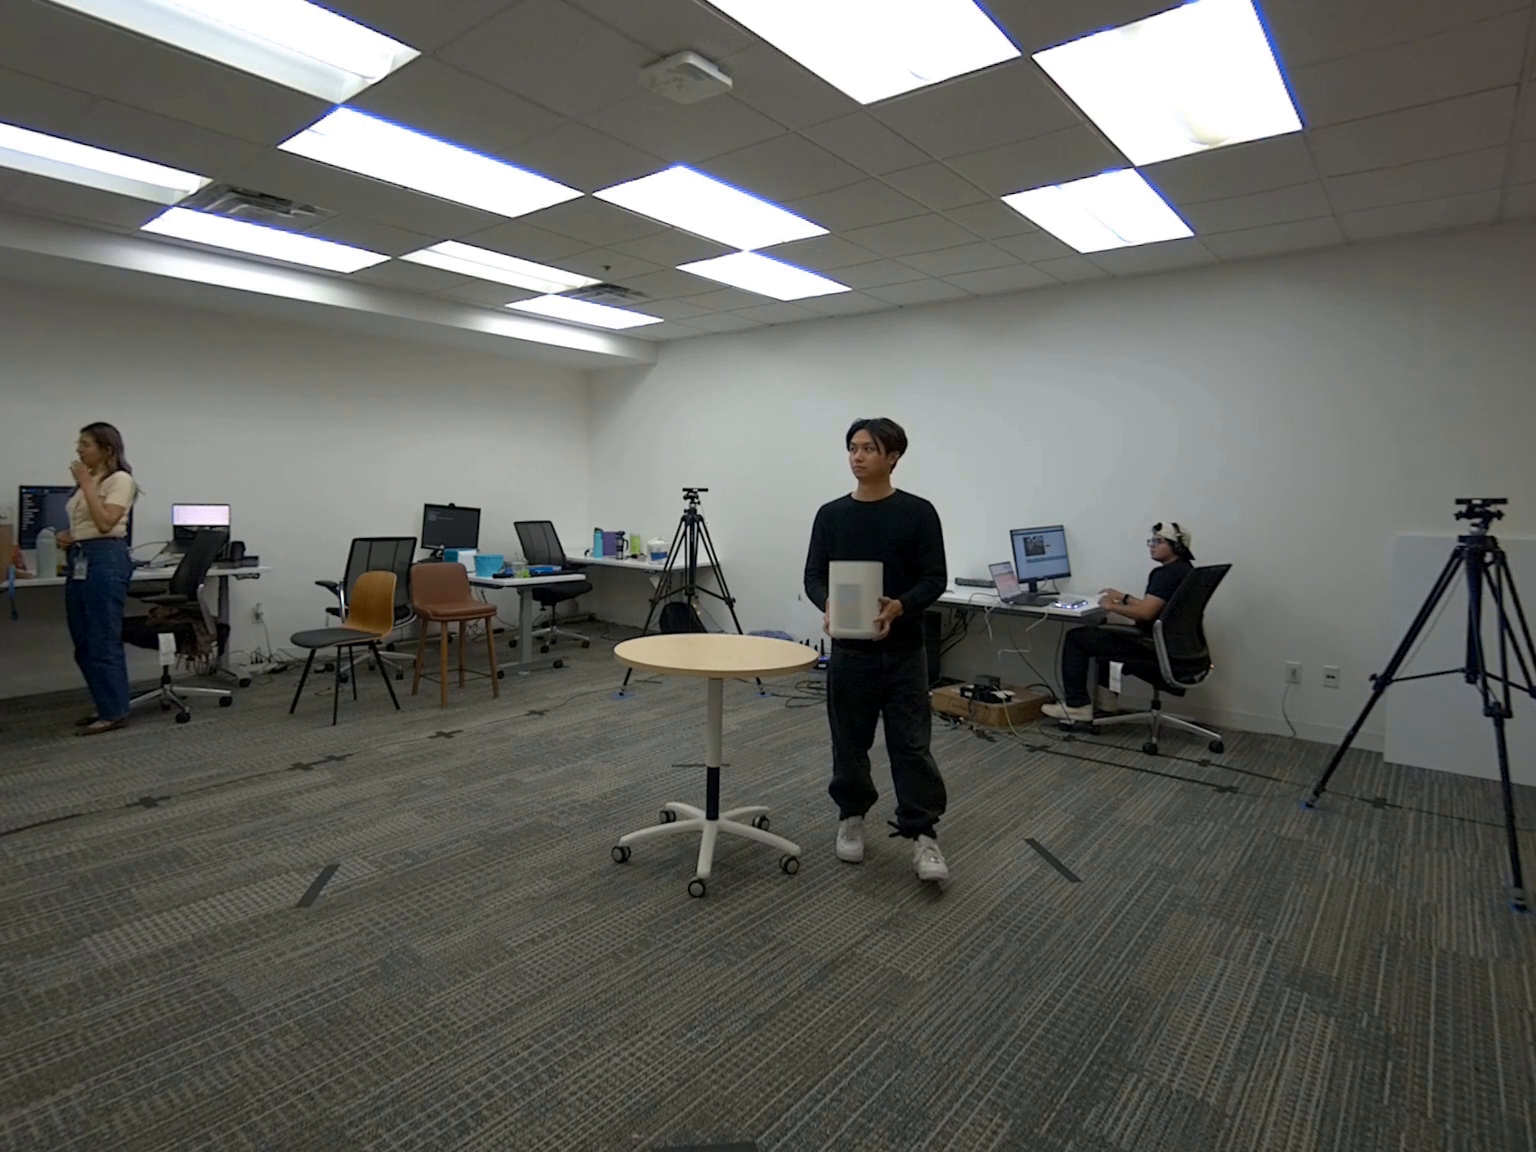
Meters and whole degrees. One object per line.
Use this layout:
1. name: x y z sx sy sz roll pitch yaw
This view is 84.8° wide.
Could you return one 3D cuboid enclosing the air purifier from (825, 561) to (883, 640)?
1. air purifier: 0.309 0.077 2.973 0.176 0.266 0.166 -1 -4 24
